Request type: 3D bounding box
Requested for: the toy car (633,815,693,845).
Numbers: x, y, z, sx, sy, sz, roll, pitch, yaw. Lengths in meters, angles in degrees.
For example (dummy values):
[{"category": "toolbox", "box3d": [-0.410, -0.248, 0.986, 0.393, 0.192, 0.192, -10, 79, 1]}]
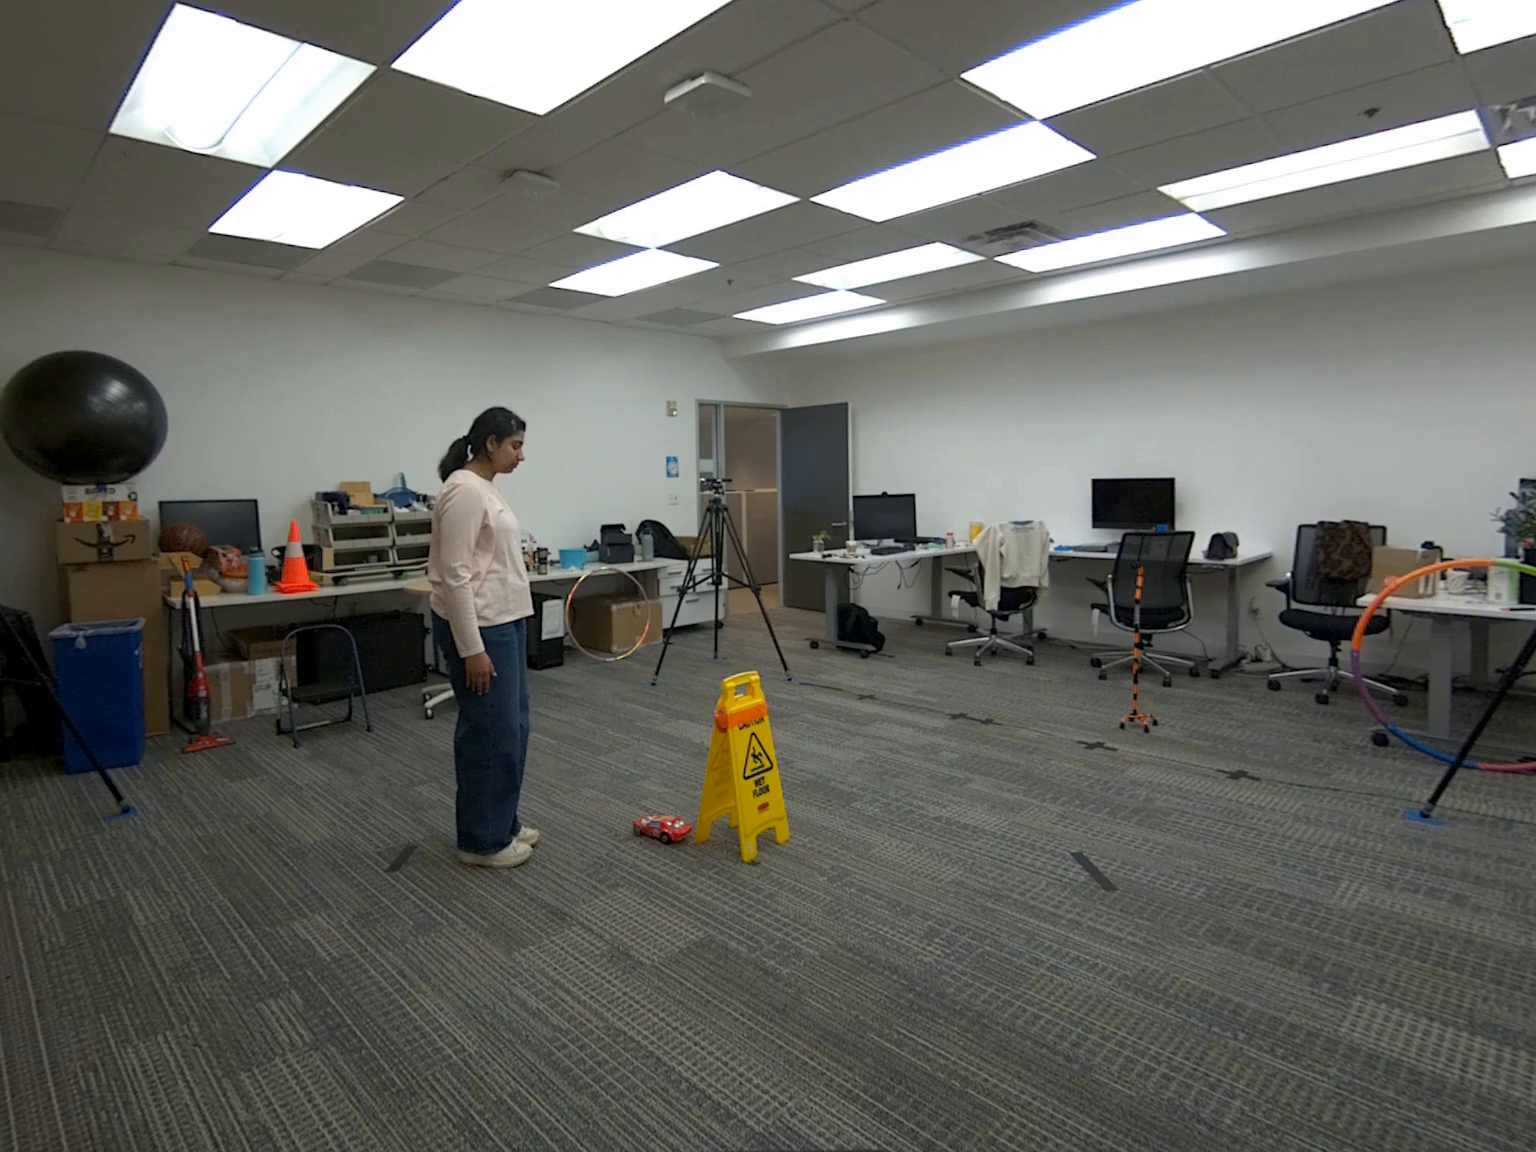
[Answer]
[{"category": "toy car", "box3d": [-0.405, 0.984, 3.339, 0.260, 0.083, 0.127, -11, 0, 36]}]
